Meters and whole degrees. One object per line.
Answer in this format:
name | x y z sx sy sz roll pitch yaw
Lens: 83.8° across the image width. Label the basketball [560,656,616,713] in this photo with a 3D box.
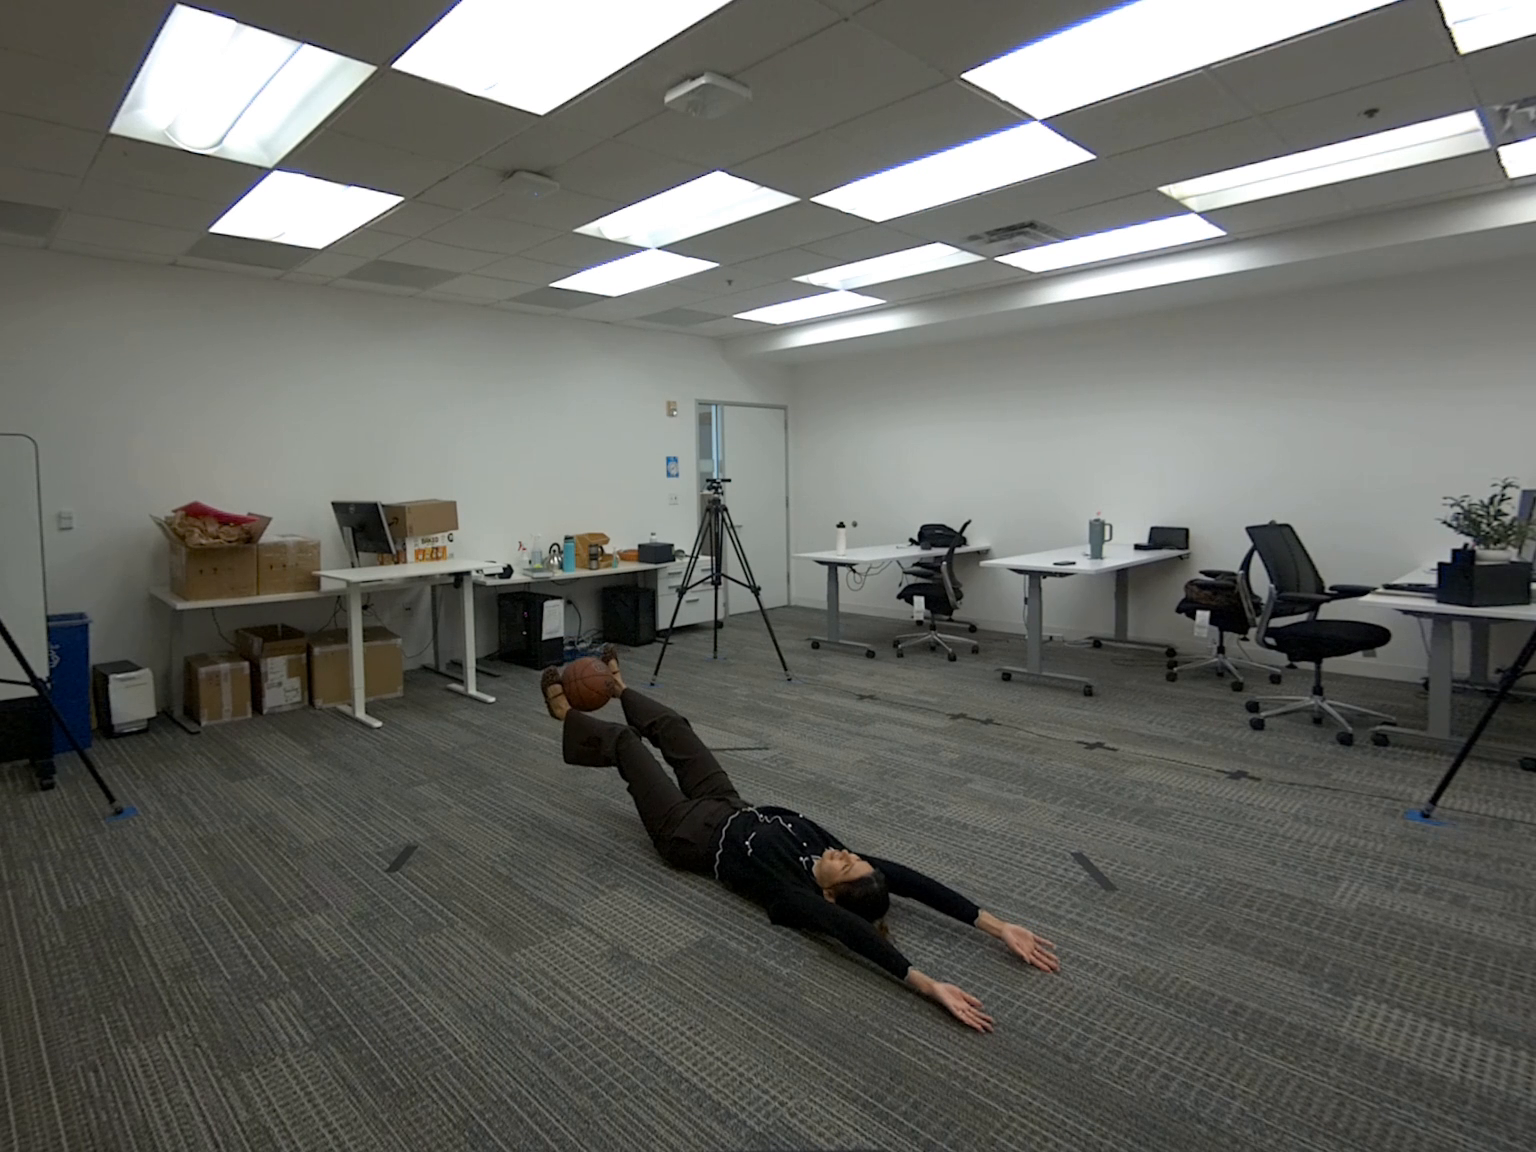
basketball | -0.787 0.474 3.730 0.236 0.235 0.237 -1 5 -2
